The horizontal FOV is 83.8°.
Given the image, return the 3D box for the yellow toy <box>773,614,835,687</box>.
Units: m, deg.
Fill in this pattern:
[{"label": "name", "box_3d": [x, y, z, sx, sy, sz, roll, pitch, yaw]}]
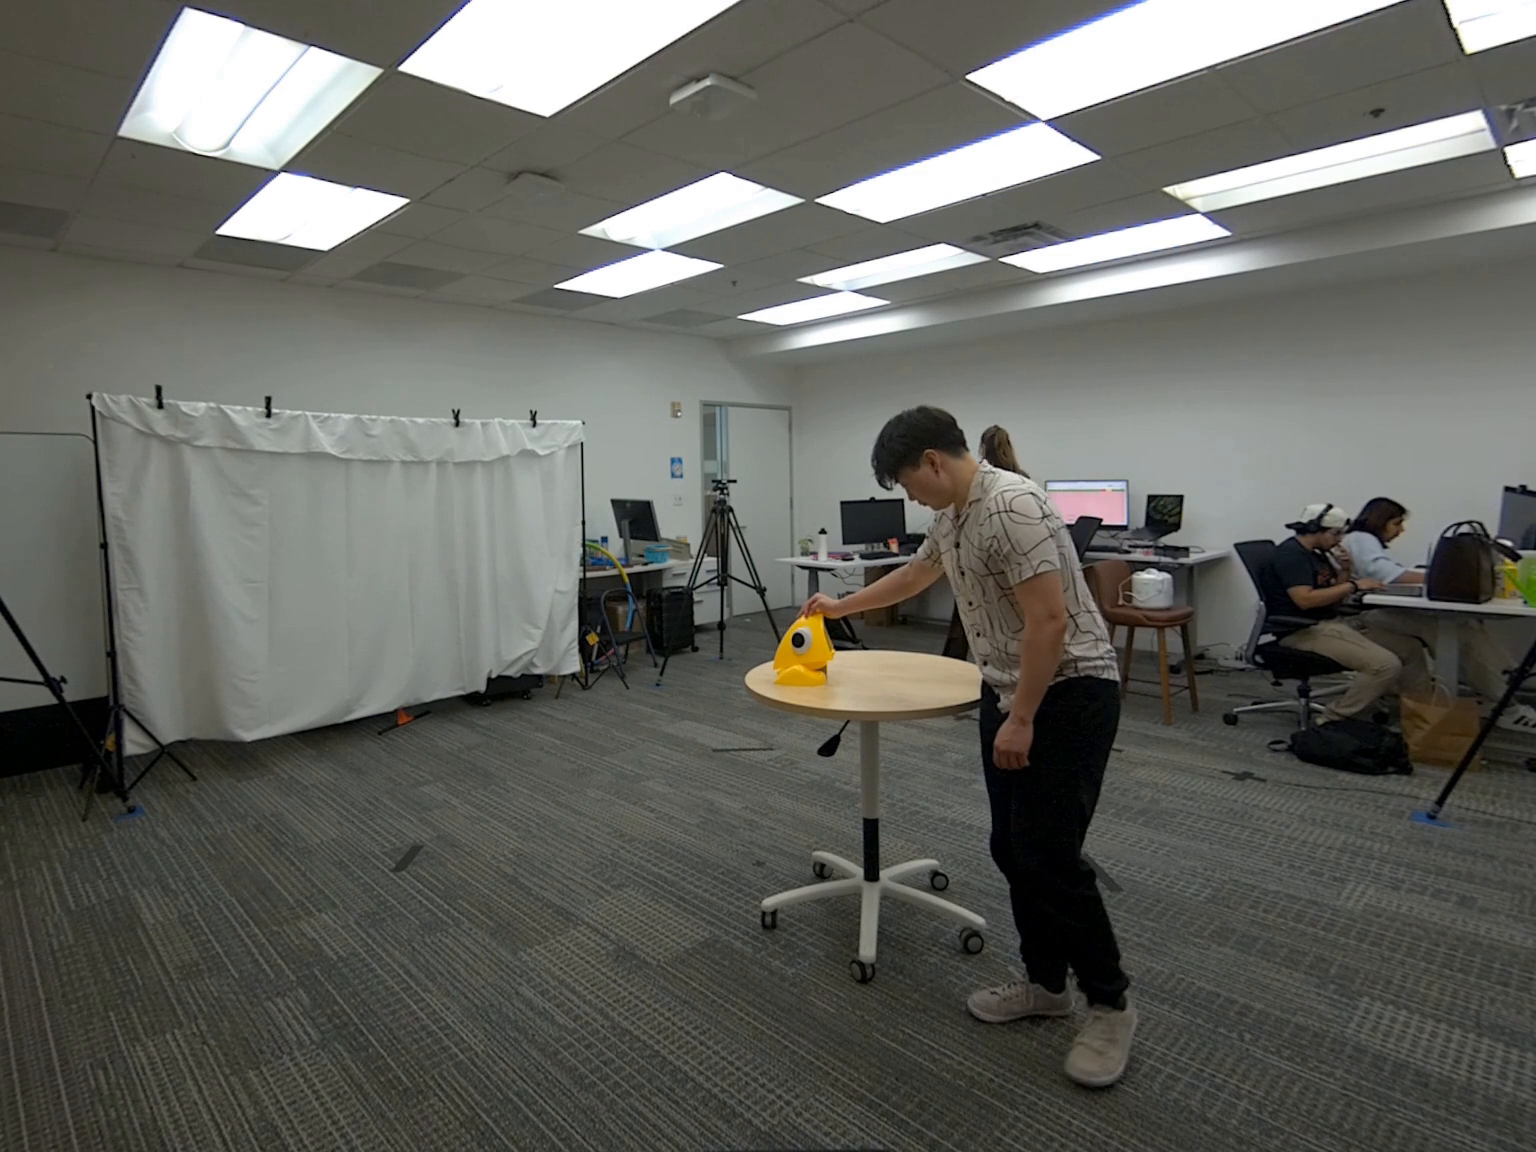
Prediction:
[{"label": "yellow toy", "box_3d": [0.115, 0.204, 2.637, 0.194, 0.230, 0.204, 0, 4, 7]}]
